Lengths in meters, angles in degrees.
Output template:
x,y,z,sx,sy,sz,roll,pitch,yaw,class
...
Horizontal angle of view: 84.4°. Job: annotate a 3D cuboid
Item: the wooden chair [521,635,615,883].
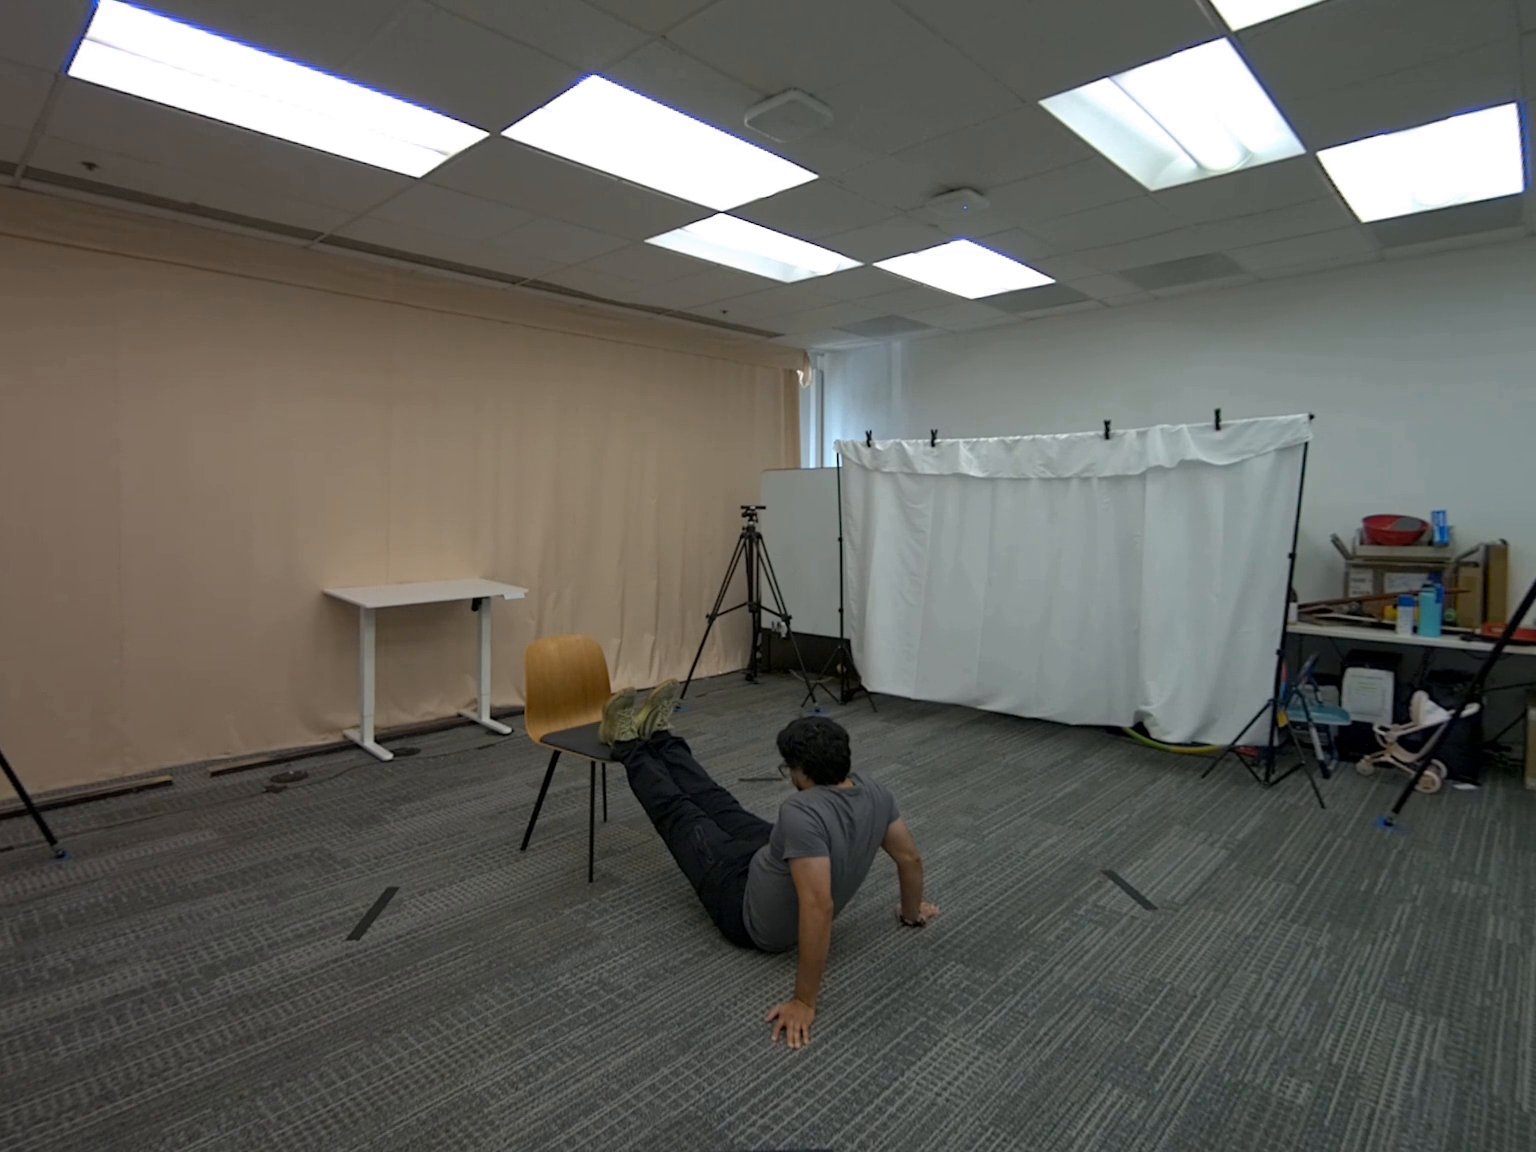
x,y,z,sx,sy,sz,roll,pitch,yaw,class
-0.688,0.691,3.401,0.539,0.877,0.463,-3,1,42,wooden chair
